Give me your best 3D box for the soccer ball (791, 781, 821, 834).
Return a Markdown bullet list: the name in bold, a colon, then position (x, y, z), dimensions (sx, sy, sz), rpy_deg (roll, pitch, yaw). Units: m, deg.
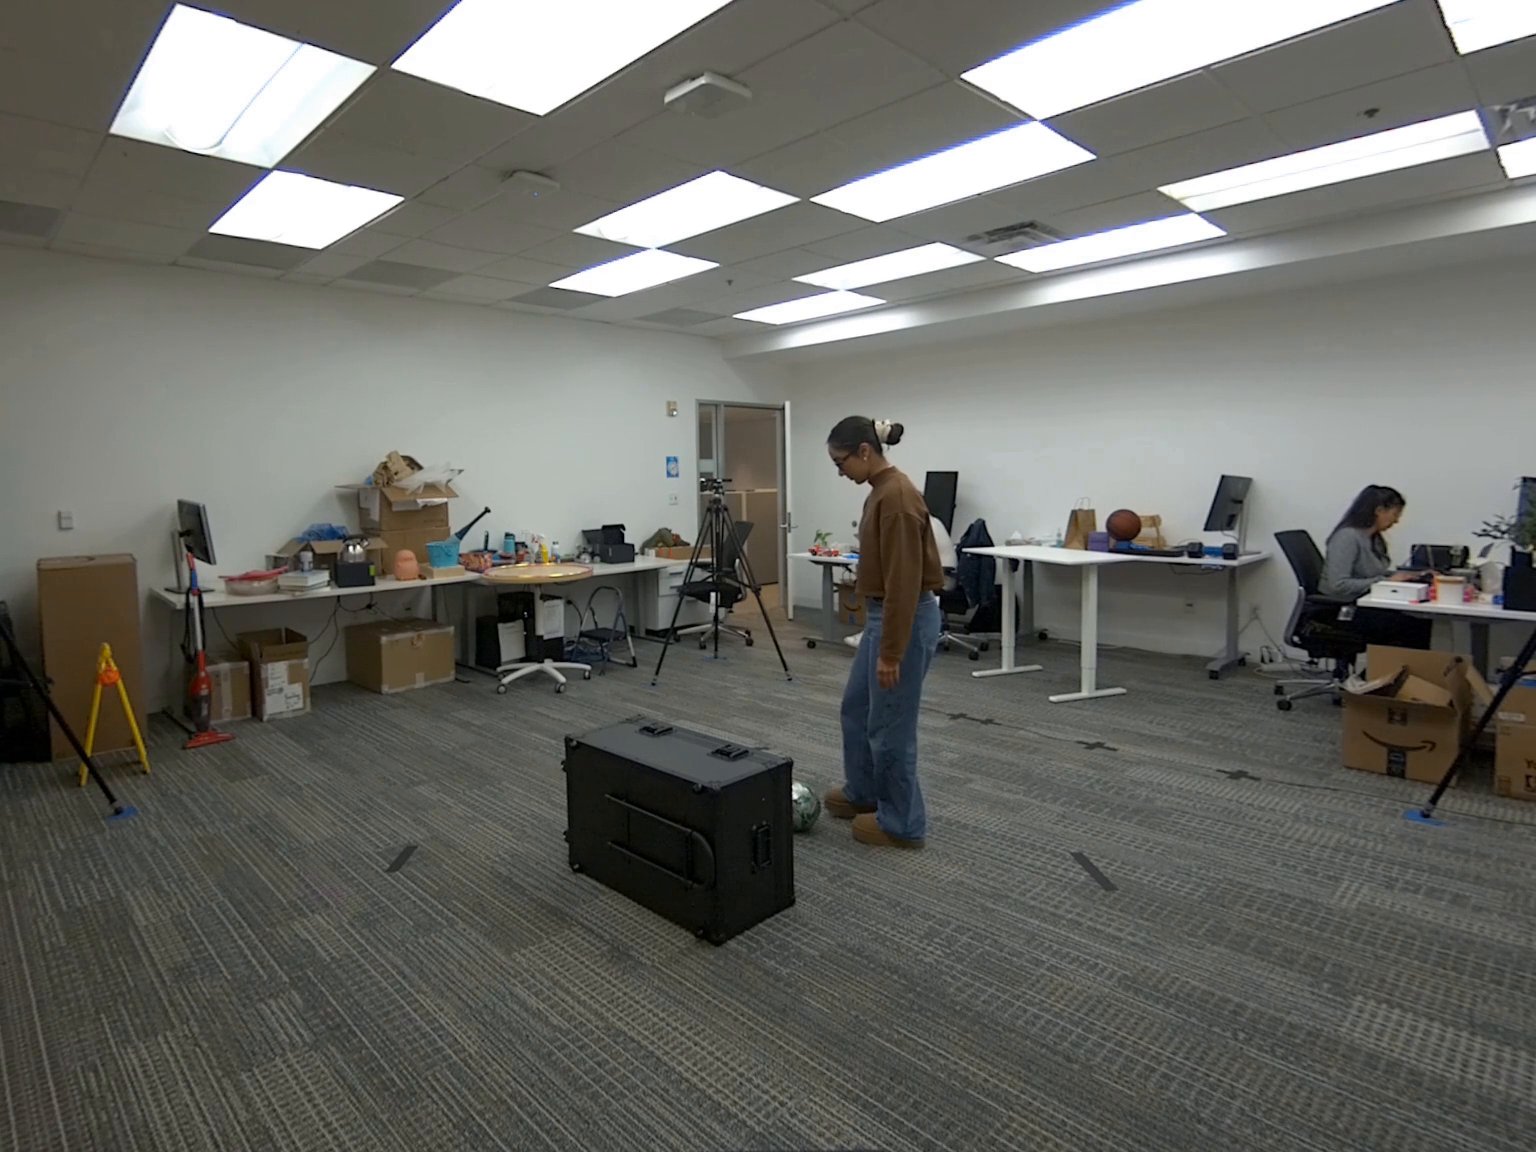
- **soccer ball**: position (0.117, 0.909, 3.399), dimensions (0.187, 0.187, 0.188), rpy_deg (-1, 5, -2)
